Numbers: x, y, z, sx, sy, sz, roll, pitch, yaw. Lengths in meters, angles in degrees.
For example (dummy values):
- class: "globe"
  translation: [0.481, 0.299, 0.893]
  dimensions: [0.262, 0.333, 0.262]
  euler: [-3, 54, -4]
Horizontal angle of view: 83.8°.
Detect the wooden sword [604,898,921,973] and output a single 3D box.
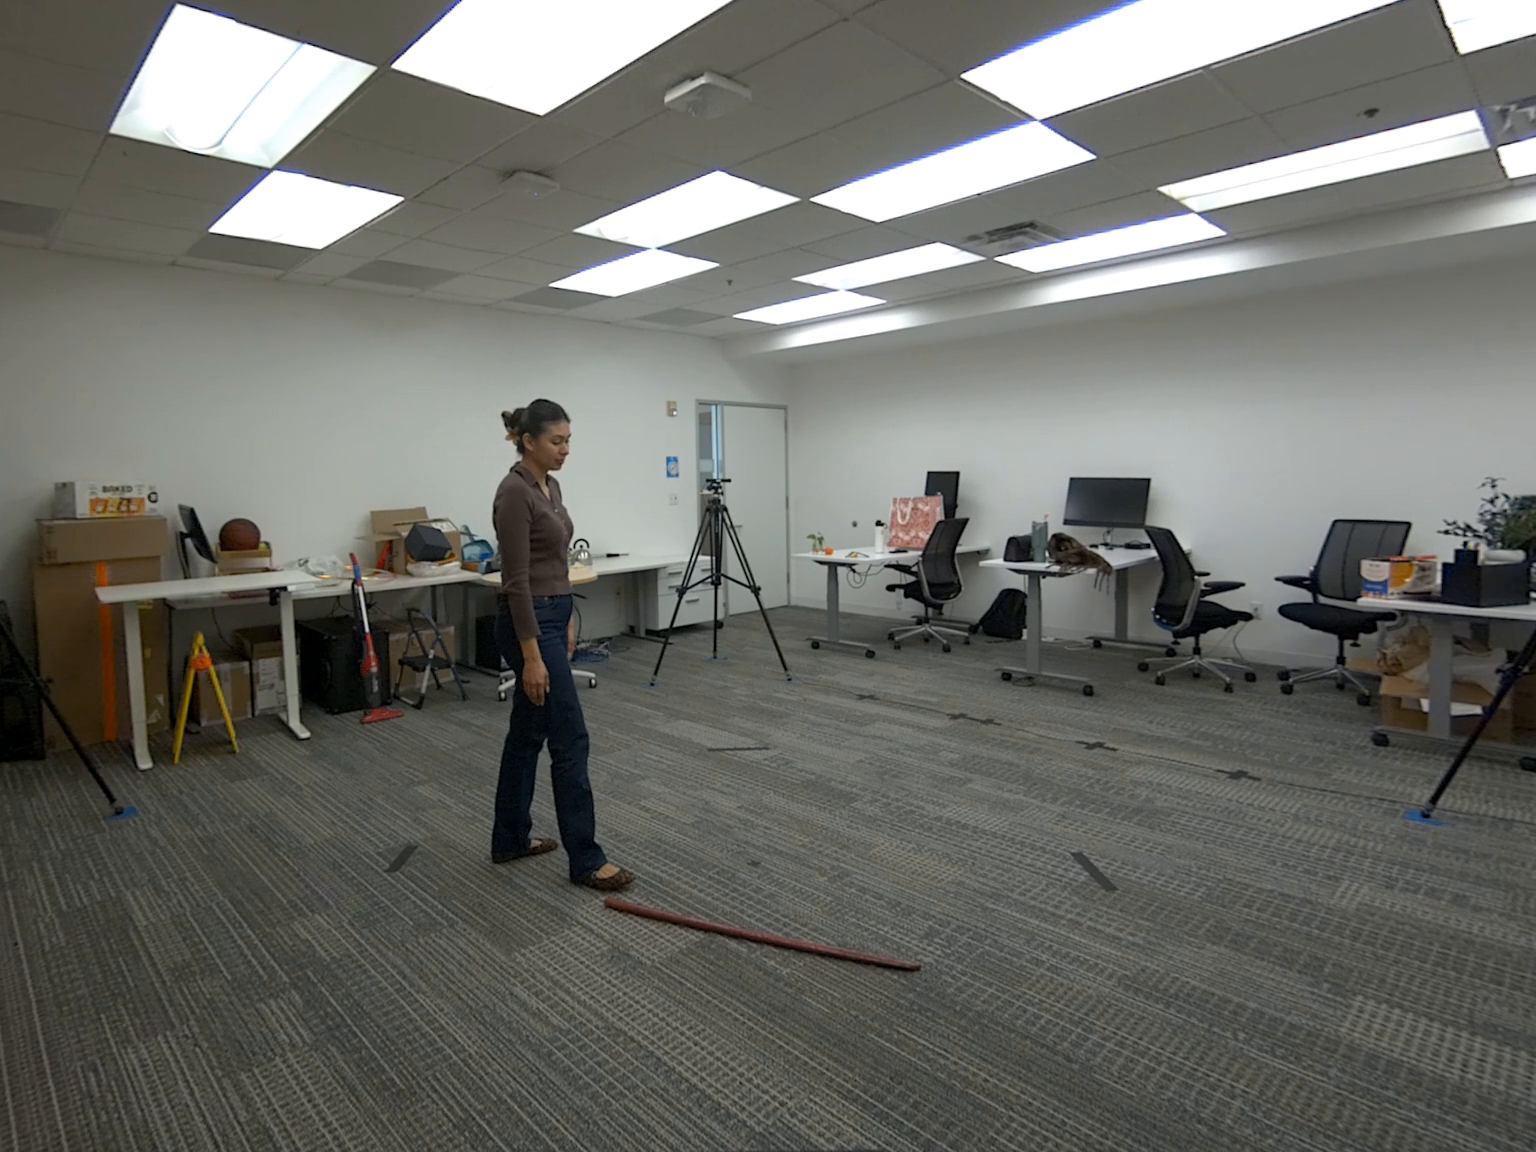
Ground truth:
- class: "wooden sword"
  translation: [-0.055, 1.078, 2.611]
  dimensions: [1.047, 0.024, 0.050]
  euler: [2, -2, 23]
